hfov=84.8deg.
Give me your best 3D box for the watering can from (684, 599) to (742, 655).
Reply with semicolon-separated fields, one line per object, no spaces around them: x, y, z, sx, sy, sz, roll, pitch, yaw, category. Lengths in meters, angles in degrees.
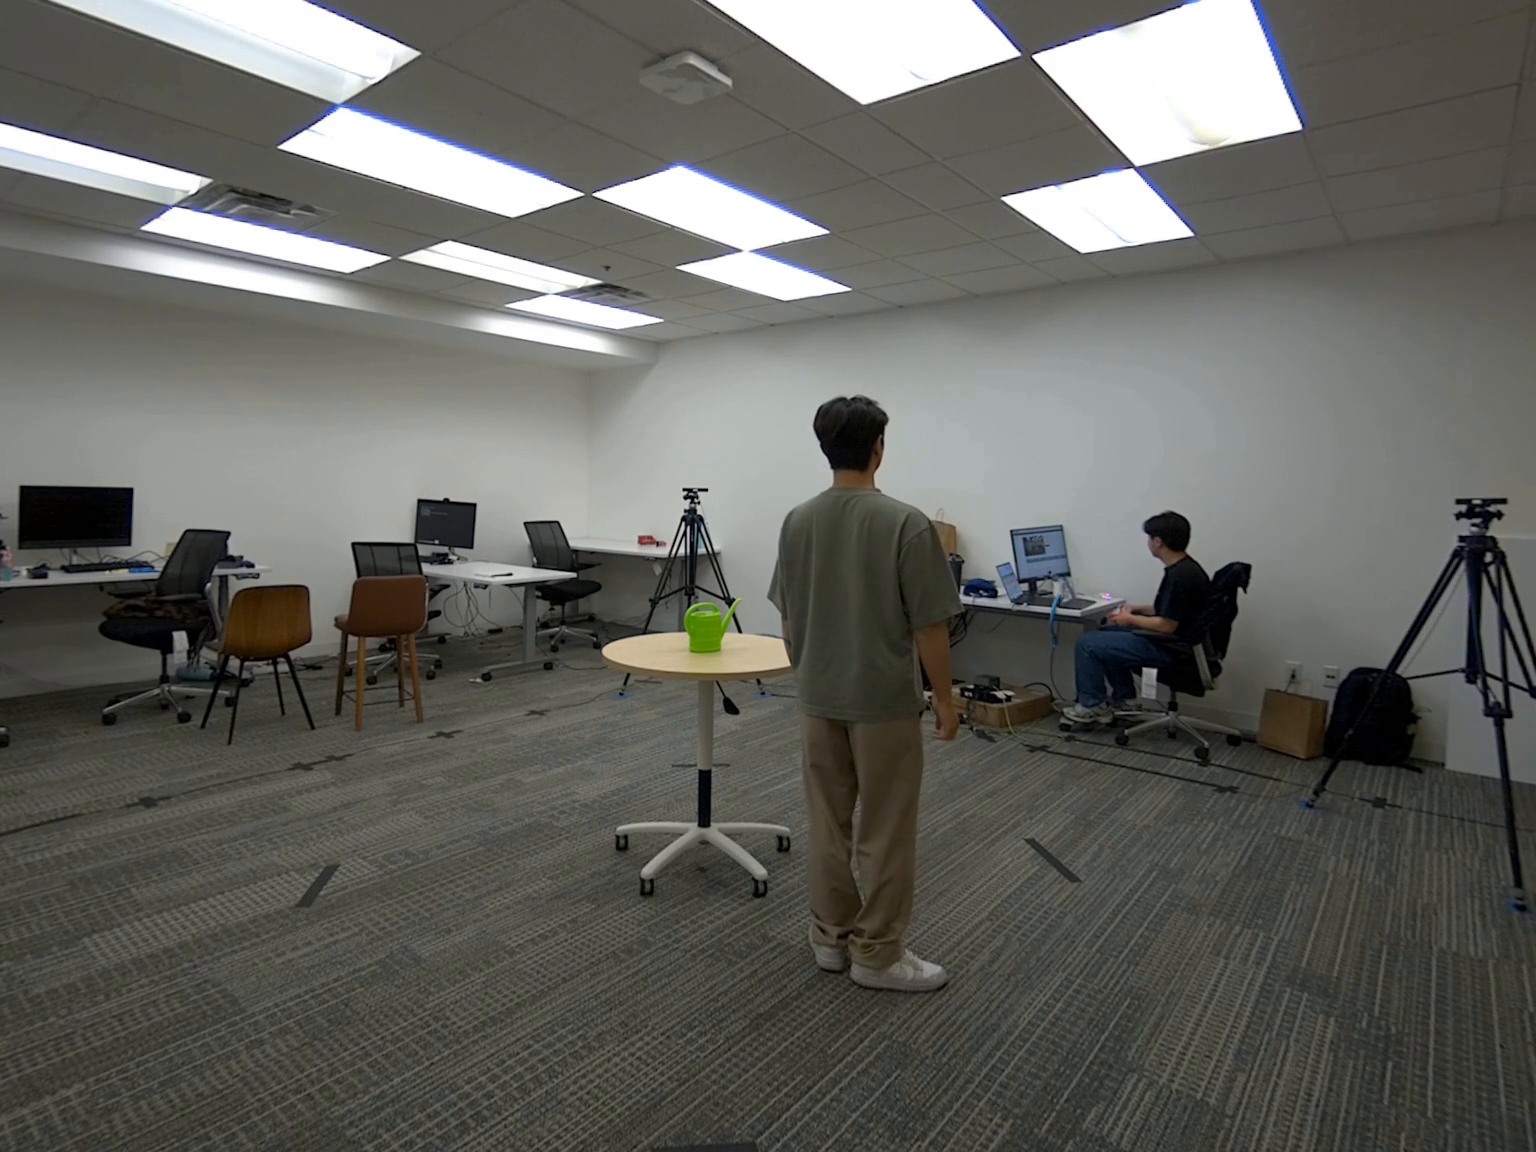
-0.199;0.181;3.142;0.271;0.176;0.101;-3;6;-28;watering can
